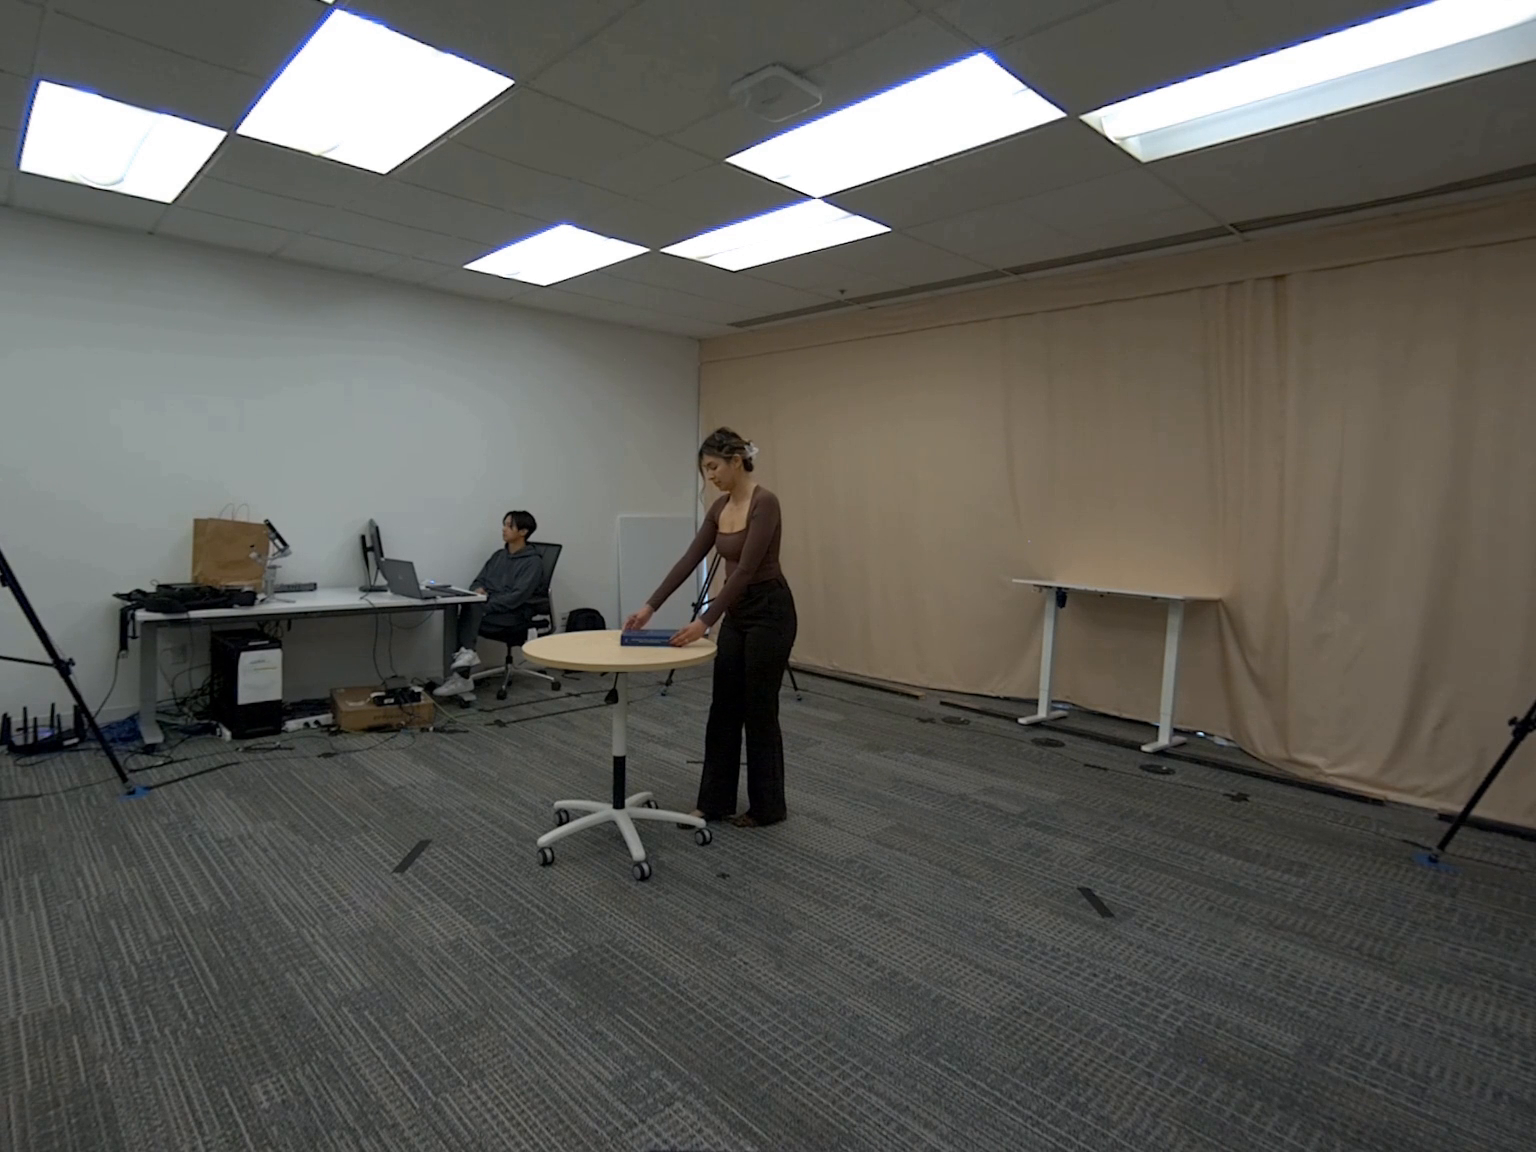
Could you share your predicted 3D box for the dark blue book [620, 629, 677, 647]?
[{"bbox_3d":[-0.472,0.257,3.414,0.245,0.045,0.164,3,5,0],"label":"dark blue book"}]
